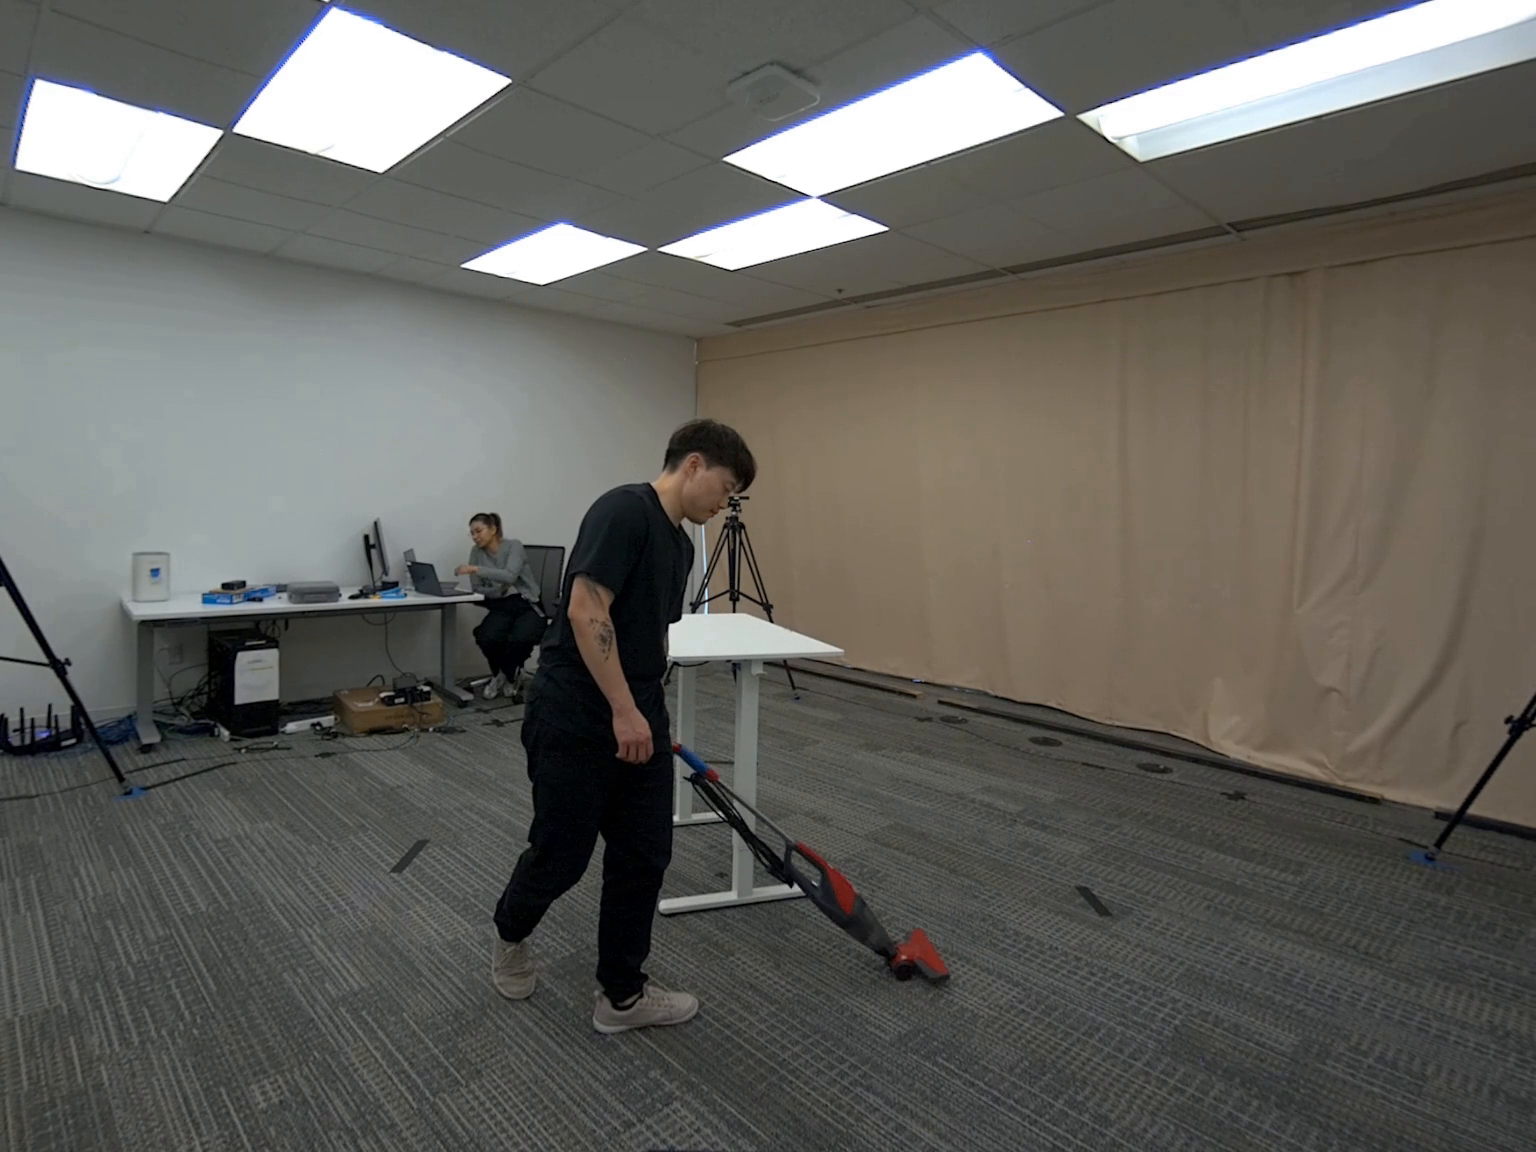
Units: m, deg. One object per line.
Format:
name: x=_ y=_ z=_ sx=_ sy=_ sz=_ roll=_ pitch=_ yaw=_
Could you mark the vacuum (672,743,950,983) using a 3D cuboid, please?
vacuum: x=0.038 y=0.817 z=2.465 sx=1.043 sy=0.144 sz=0.254 roll=40 pitch=-1 yaw=-6
